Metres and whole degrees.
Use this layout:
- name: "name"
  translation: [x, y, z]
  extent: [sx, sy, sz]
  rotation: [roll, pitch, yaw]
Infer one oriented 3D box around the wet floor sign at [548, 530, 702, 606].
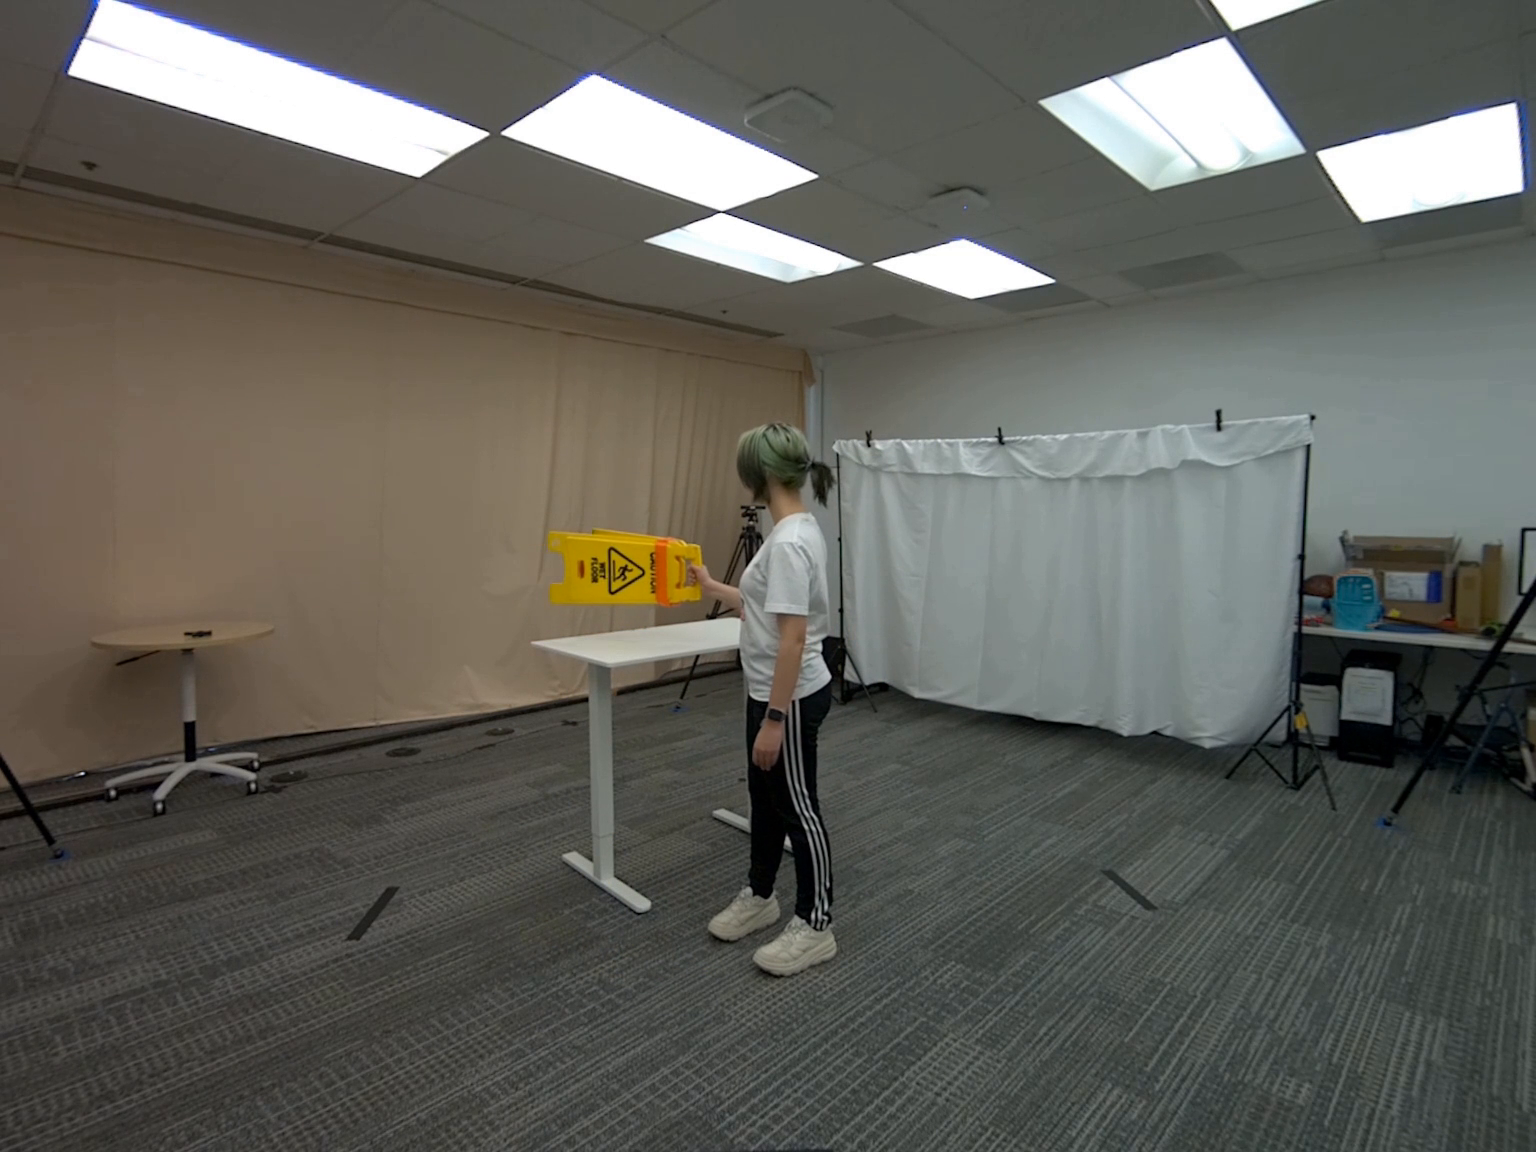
- name: "wet floor sign"
  translation: [-0.509, -0.023, 3.169]
  extent: [0.666, 0.281, 0.282]
  rotation: [3, 7, 35]
